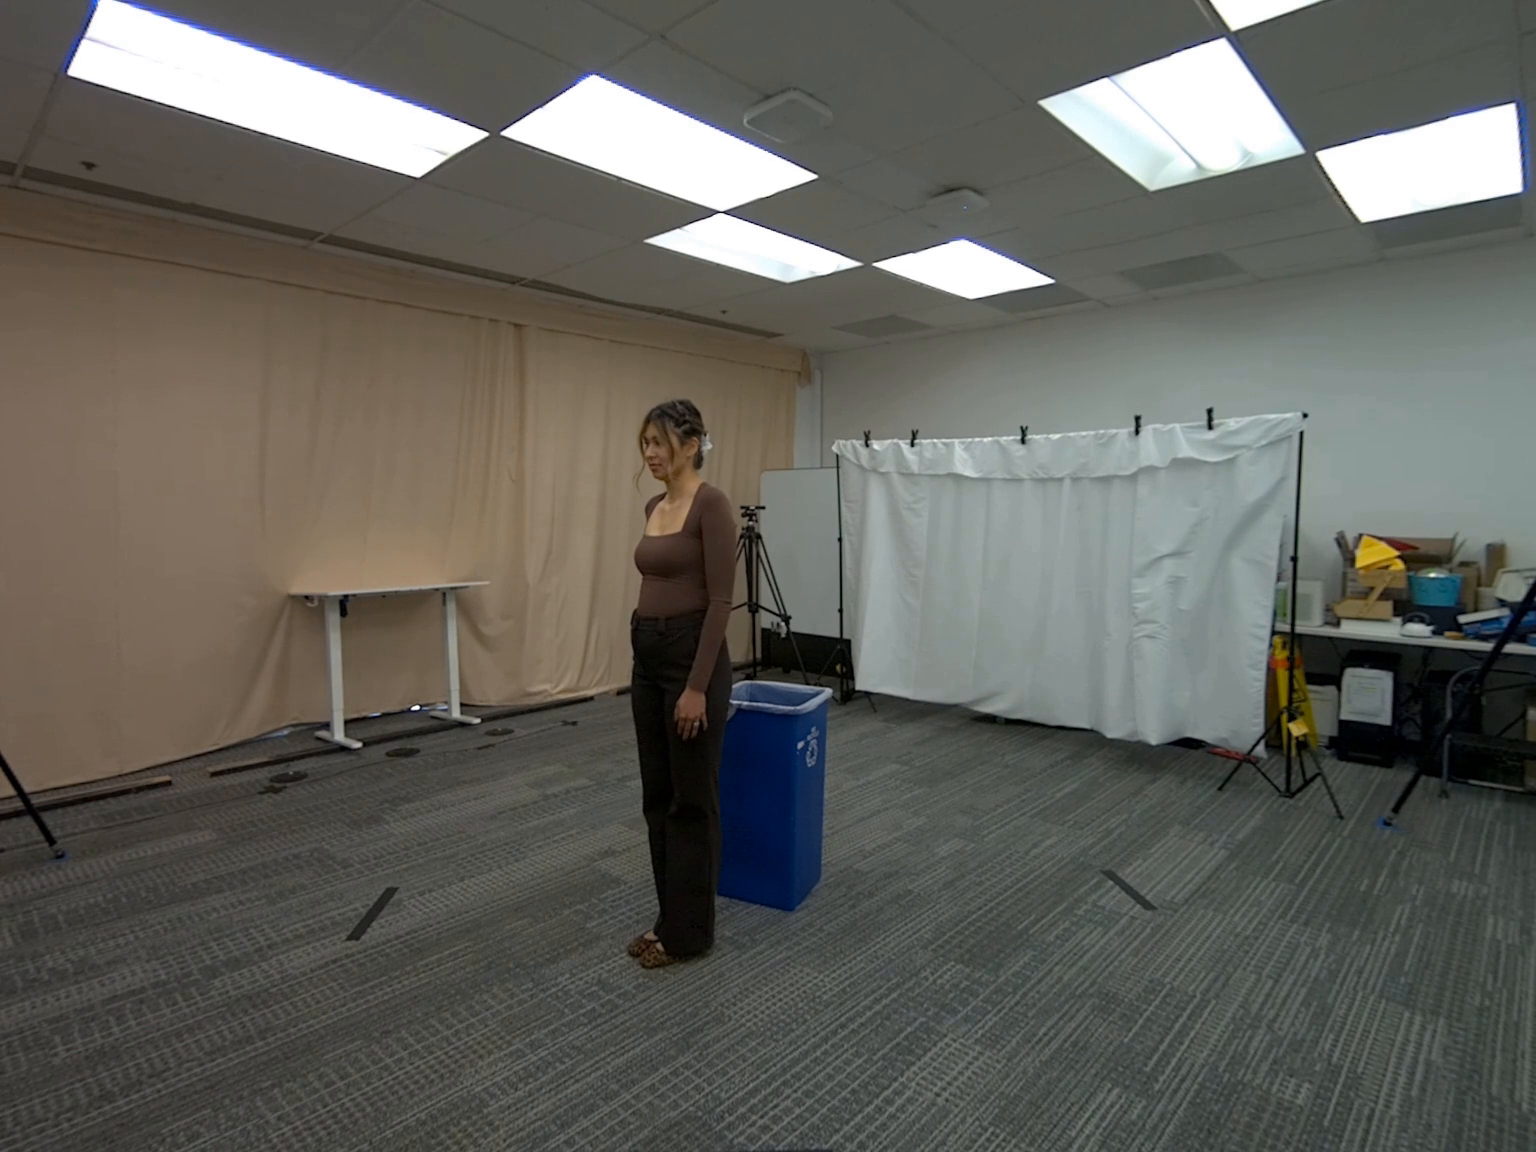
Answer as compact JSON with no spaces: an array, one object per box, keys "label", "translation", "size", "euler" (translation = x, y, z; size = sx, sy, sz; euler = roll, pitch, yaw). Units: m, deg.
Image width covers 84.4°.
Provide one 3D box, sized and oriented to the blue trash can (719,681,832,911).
[{"label":"blue trash can","translation":[0.005,0.778,3.062],"size":[0.383,0.712,0.369],"euler":[3,4,24]}]
